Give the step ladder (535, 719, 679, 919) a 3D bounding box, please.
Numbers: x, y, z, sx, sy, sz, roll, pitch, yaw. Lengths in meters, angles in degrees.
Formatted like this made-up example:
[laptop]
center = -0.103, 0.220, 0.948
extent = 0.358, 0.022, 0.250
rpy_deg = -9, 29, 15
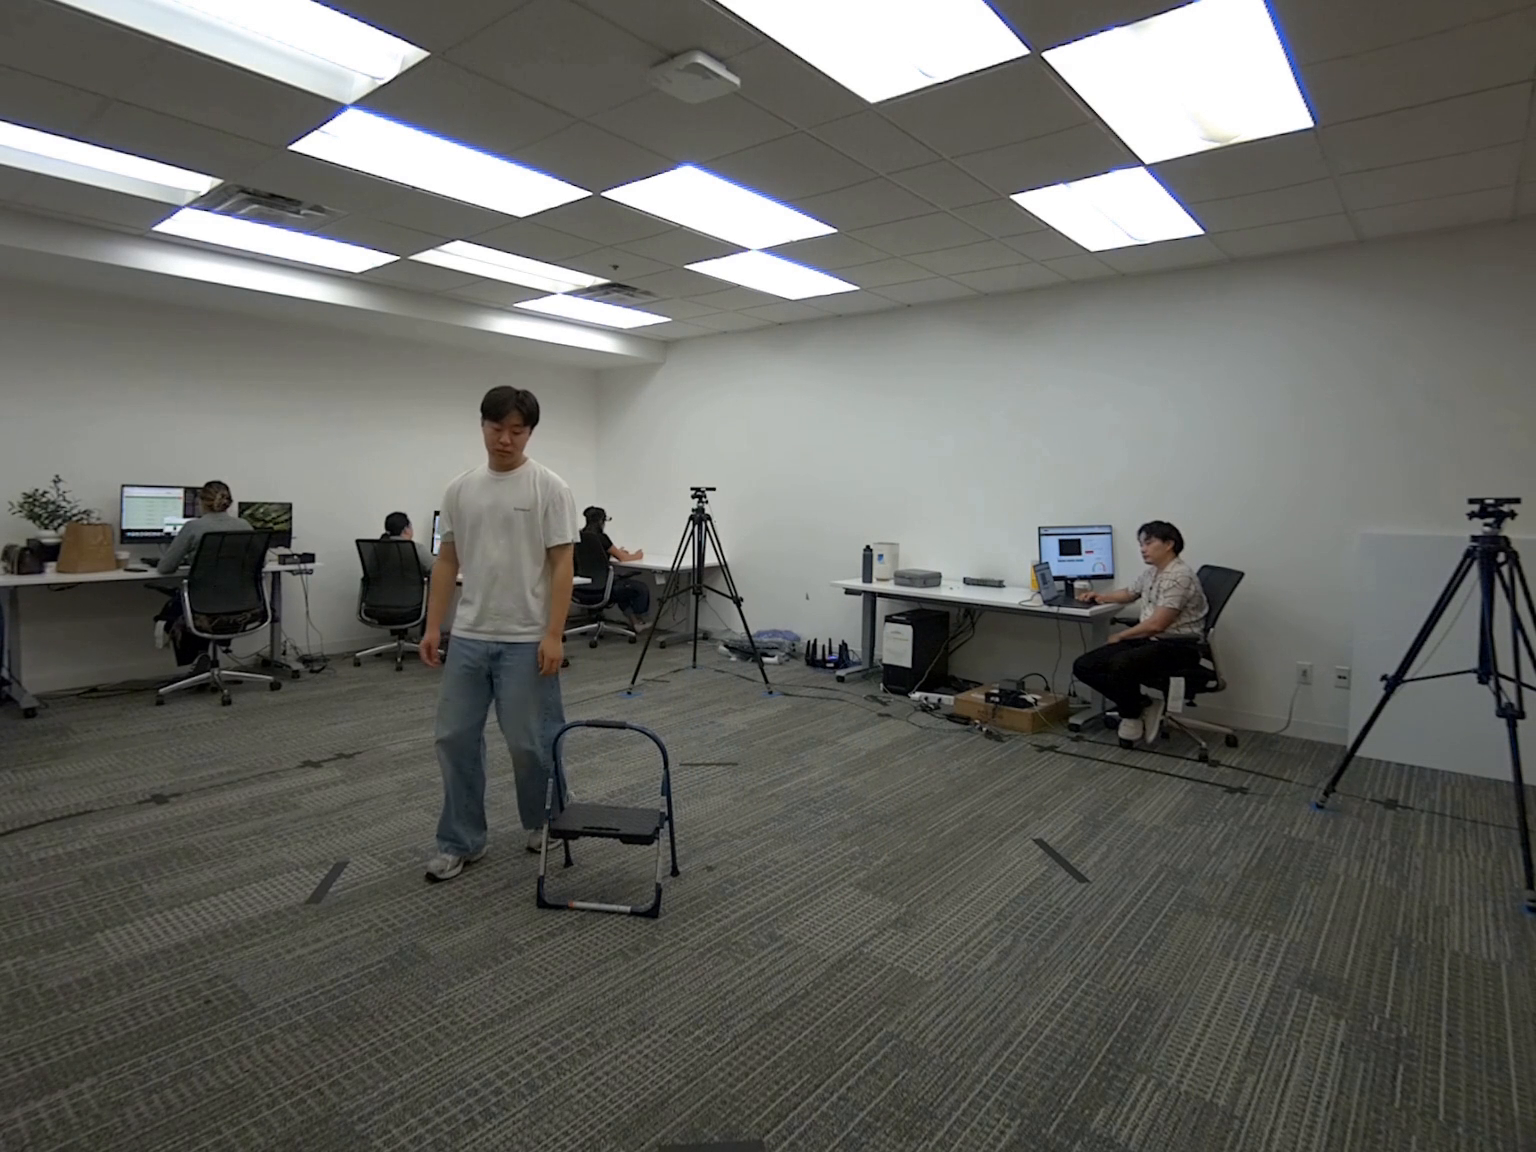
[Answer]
[step ladder]
center = -0.549, 0.777, 2.909
extent = 0.434, 0.604, 0.348
rpy_deg = 1, 3, 6
